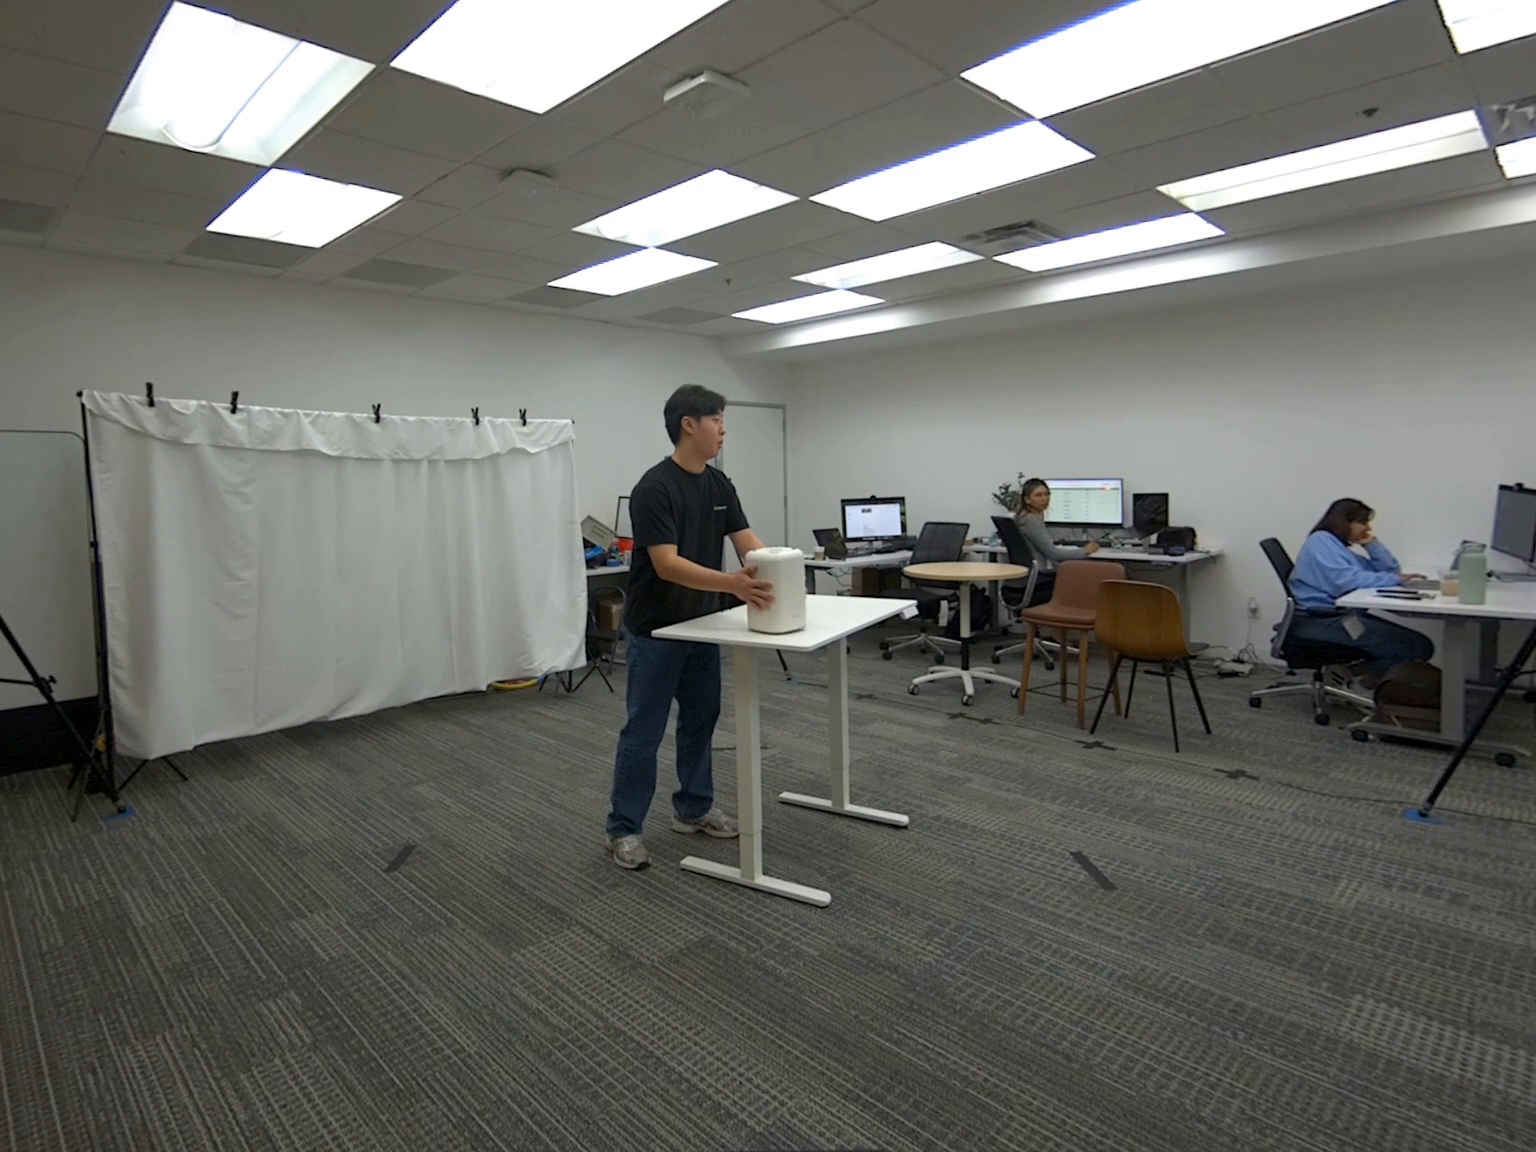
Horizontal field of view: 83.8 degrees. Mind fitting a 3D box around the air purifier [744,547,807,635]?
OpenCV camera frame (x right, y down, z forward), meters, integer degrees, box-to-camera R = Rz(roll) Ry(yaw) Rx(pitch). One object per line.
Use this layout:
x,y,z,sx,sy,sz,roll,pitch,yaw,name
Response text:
0.029,0.043,2.886,0.177,0.264,0.167,4,9,45,air purifier
